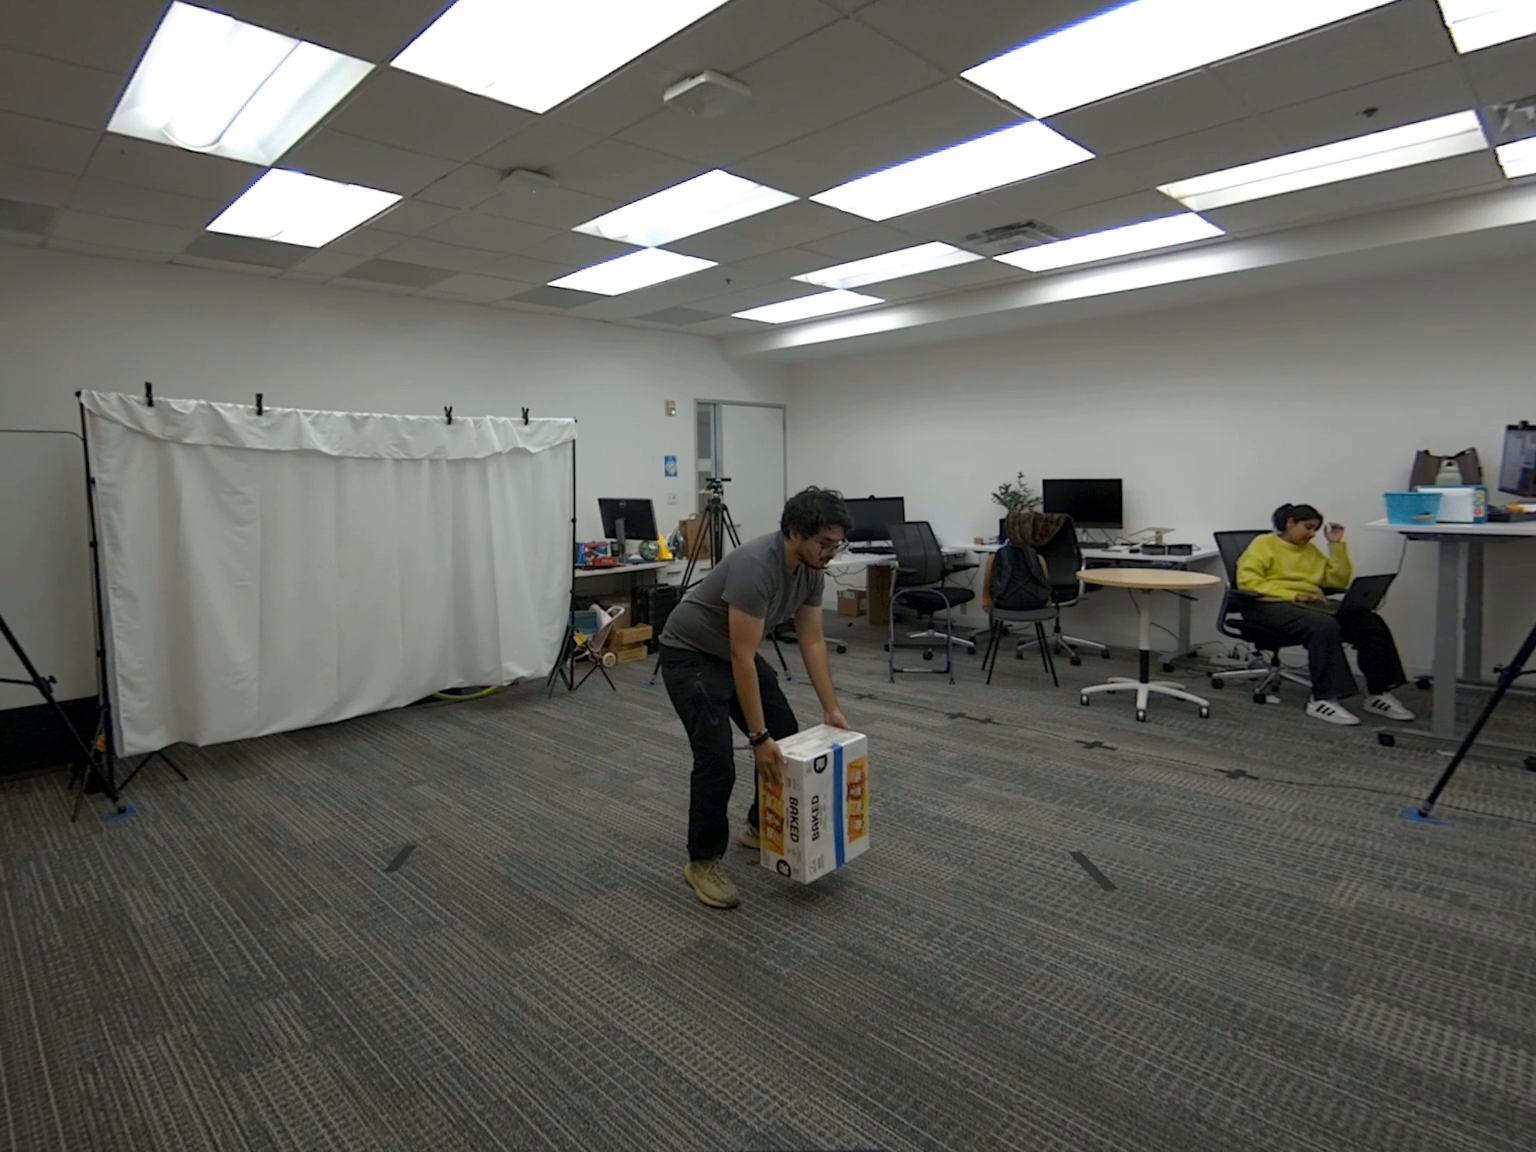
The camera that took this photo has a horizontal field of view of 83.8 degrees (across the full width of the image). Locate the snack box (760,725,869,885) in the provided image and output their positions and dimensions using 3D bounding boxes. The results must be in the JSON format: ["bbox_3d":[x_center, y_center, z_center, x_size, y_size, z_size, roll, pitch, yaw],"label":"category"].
[{"bbox_3d":[0.156,0.753,2.875,0.212,0.403,0.332,4,8,43],"label":"snack box"}]
